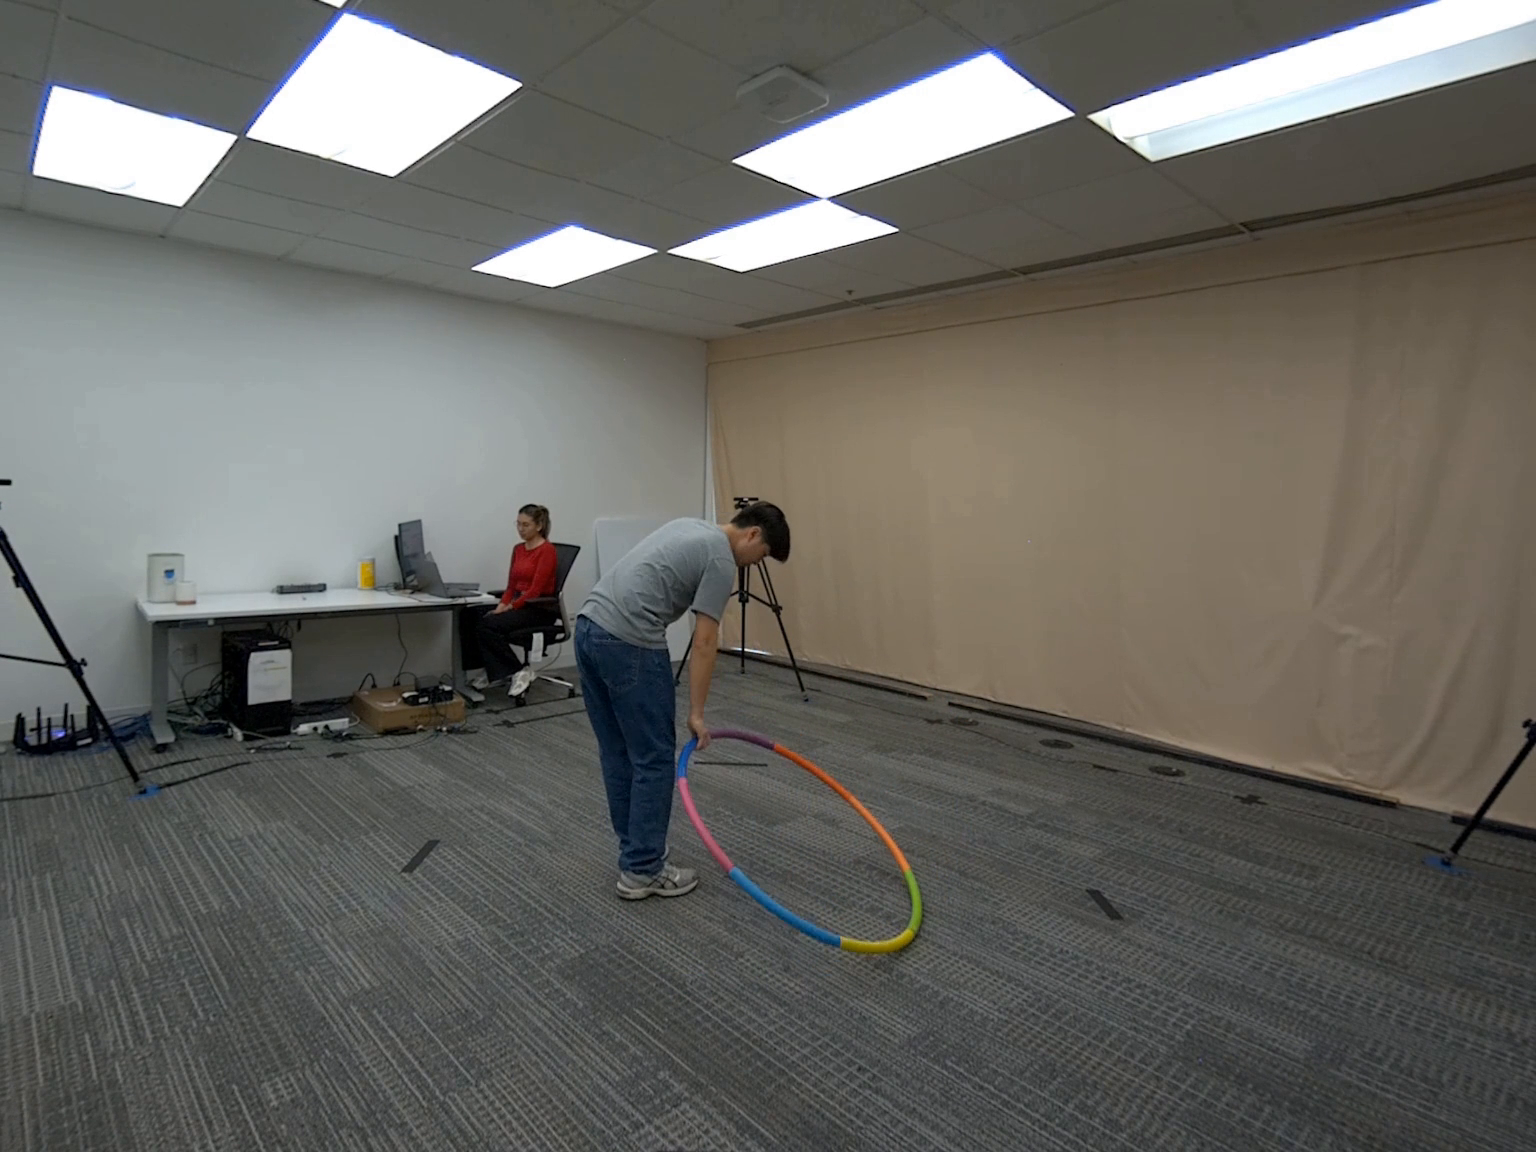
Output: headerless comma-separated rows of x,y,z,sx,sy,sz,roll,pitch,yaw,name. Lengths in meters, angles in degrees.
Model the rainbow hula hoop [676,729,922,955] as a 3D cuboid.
0.106,0.856,2.889,0.969,0.035,0.991,31,14,-10,rainbow hula hoop
